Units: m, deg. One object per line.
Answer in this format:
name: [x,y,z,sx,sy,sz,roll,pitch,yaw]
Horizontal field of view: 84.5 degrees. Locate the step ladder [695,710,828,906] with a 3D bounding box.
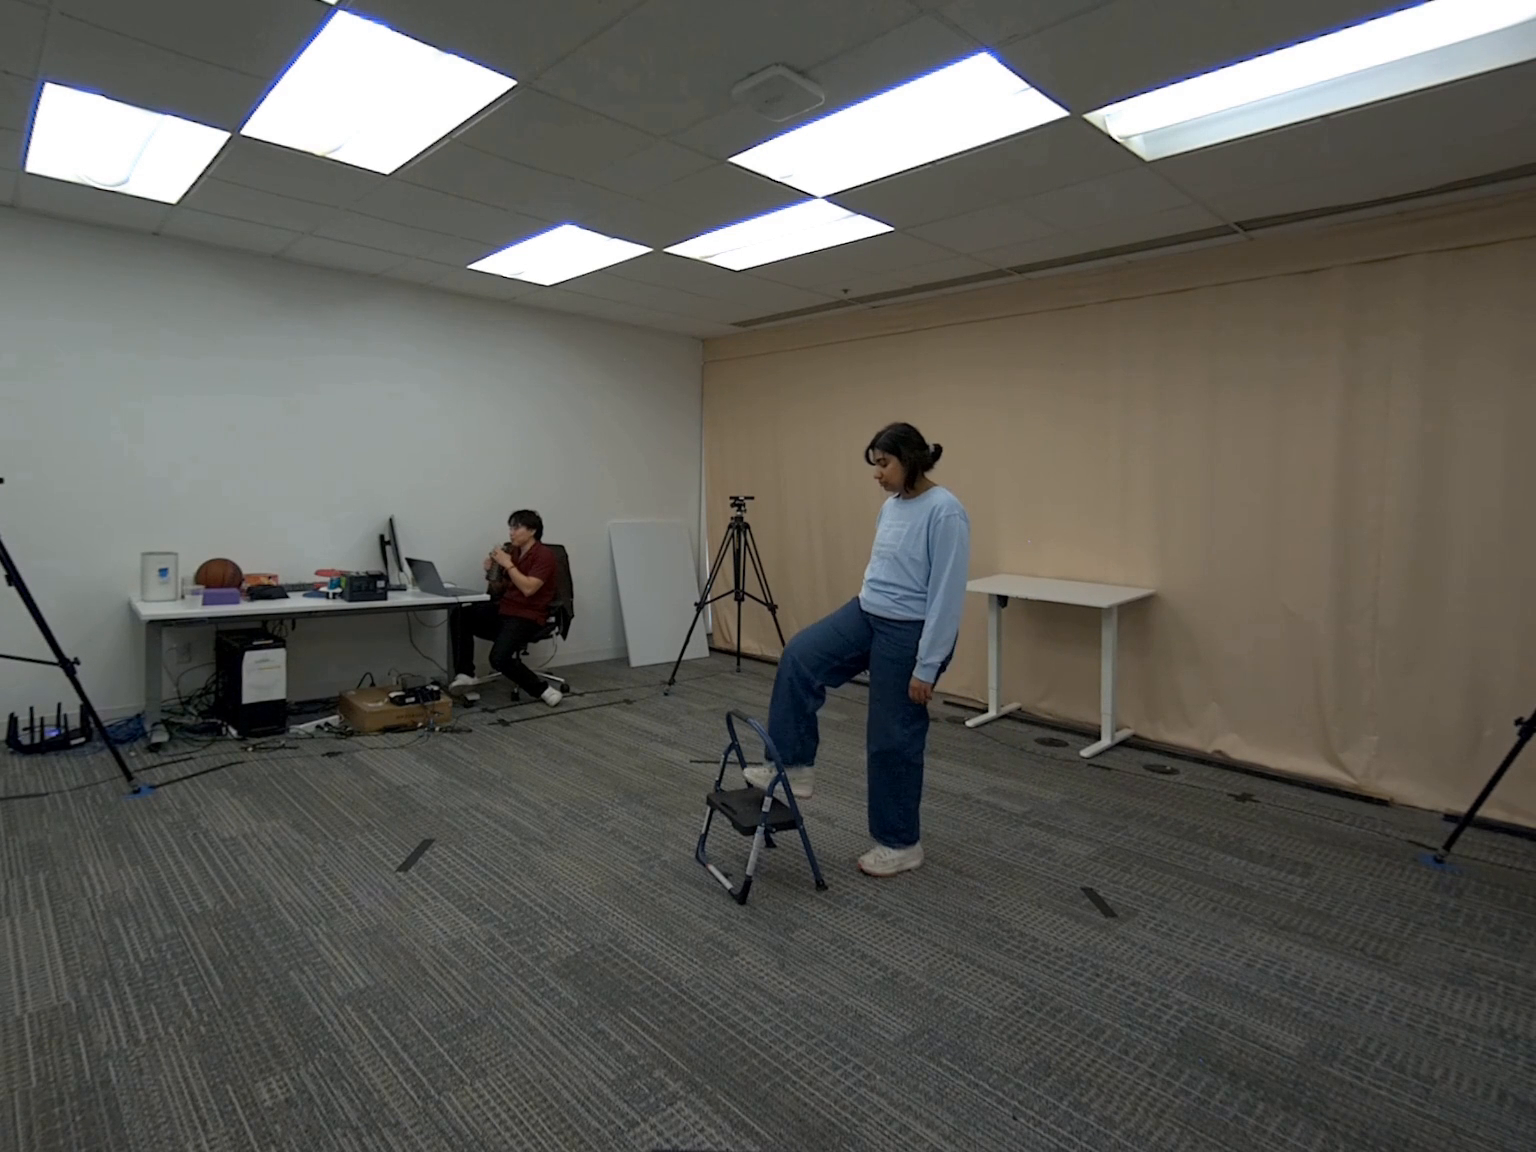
step ladder: [-0.037,0.805,3.109,0.343,0.605,0.440,0,4,-27]
